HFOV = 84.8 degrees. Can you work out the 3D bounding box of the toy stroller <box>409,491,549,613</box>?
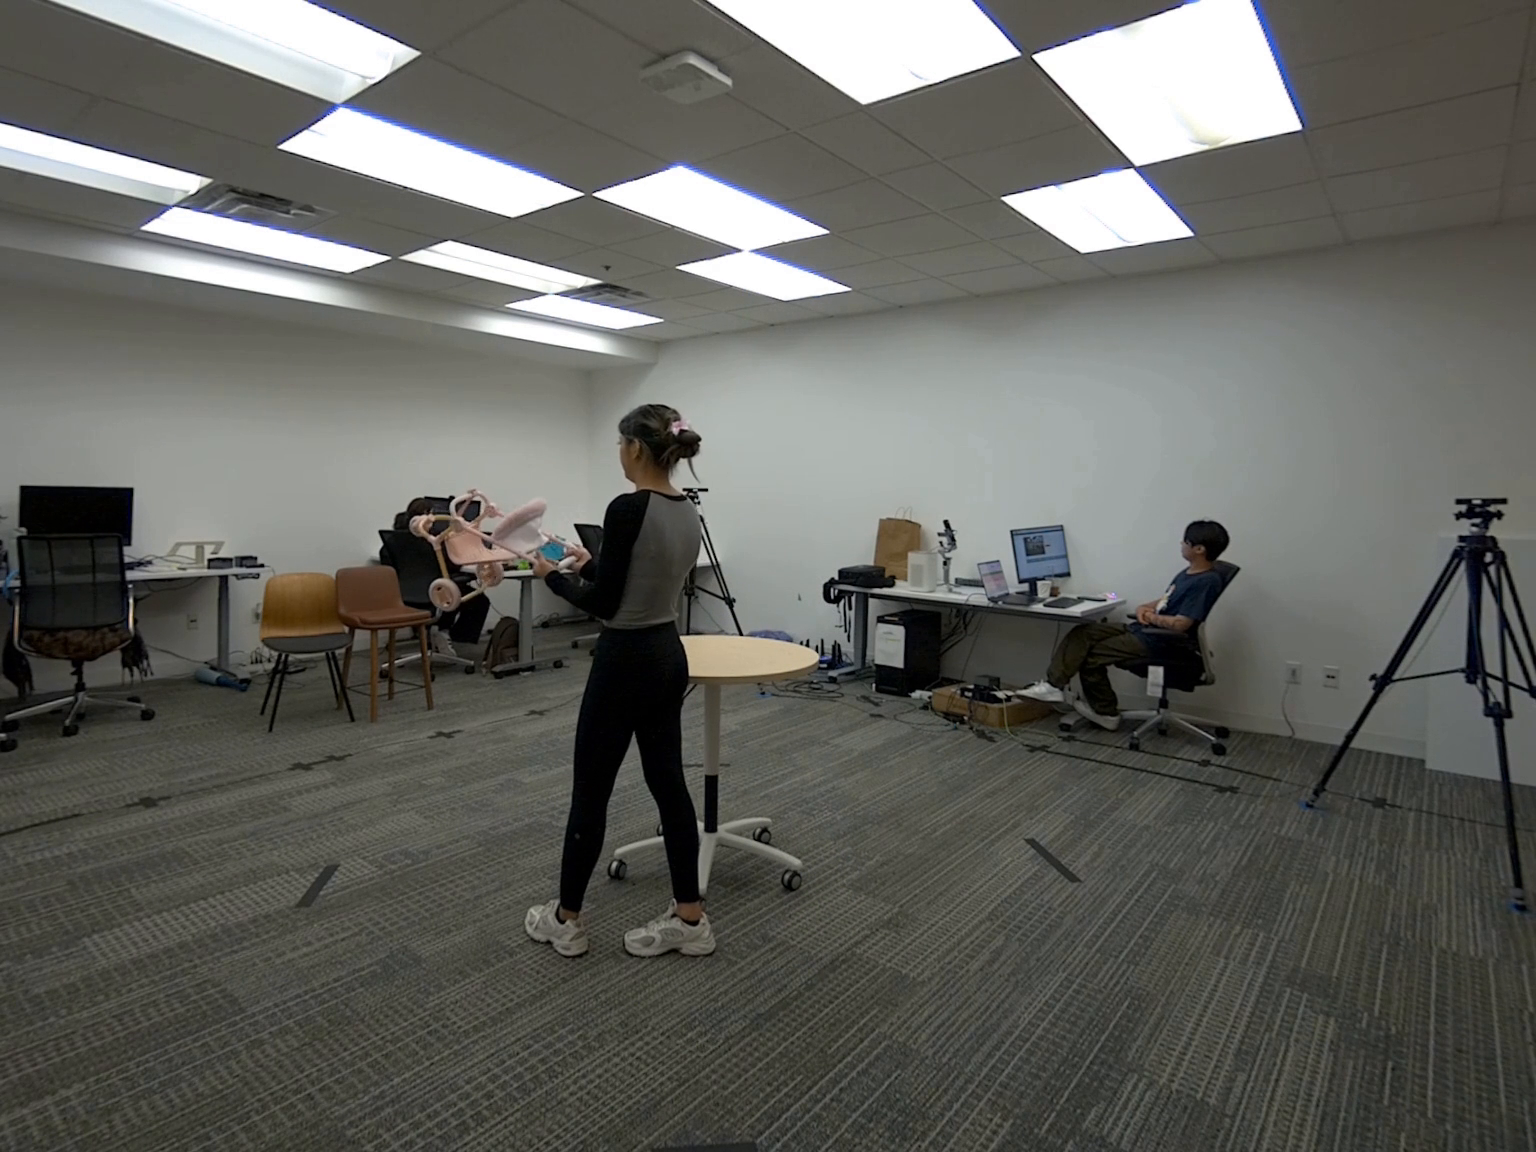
[{"bbox_3d":[-0.922,-0.126,2.756,0.543,0.340,0.278,-18,4,24],"label":"toy stroller"}]
